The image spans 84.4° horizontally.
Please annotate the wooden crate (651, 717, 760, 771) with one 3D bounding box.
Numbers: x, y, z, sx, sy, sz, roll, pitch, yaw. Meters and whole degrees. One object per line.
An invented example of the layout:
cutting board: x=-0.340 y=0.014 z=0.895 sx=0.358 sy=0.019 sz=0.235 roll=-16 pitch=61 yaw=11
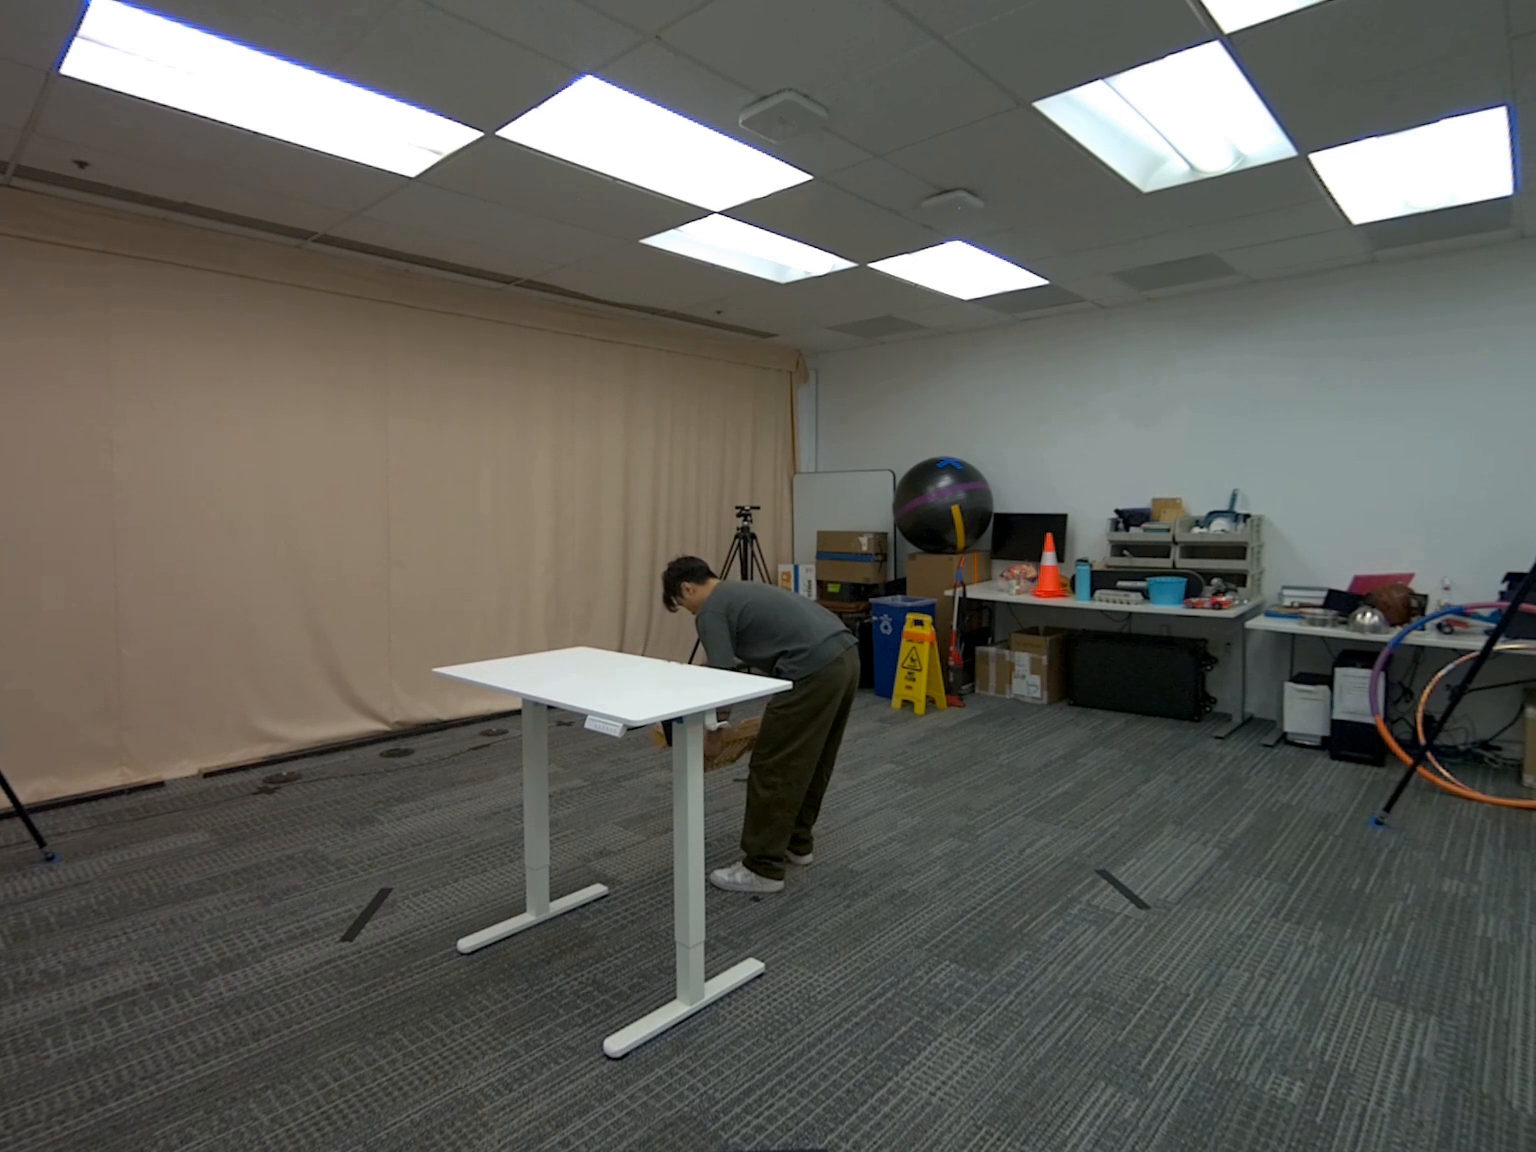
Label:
wooden crate: x=-0.240 y=0.618 z=3.401 sx=0.314 sy=0.303 sz=0.281 roll=1 pitch=45 yaw=-54
